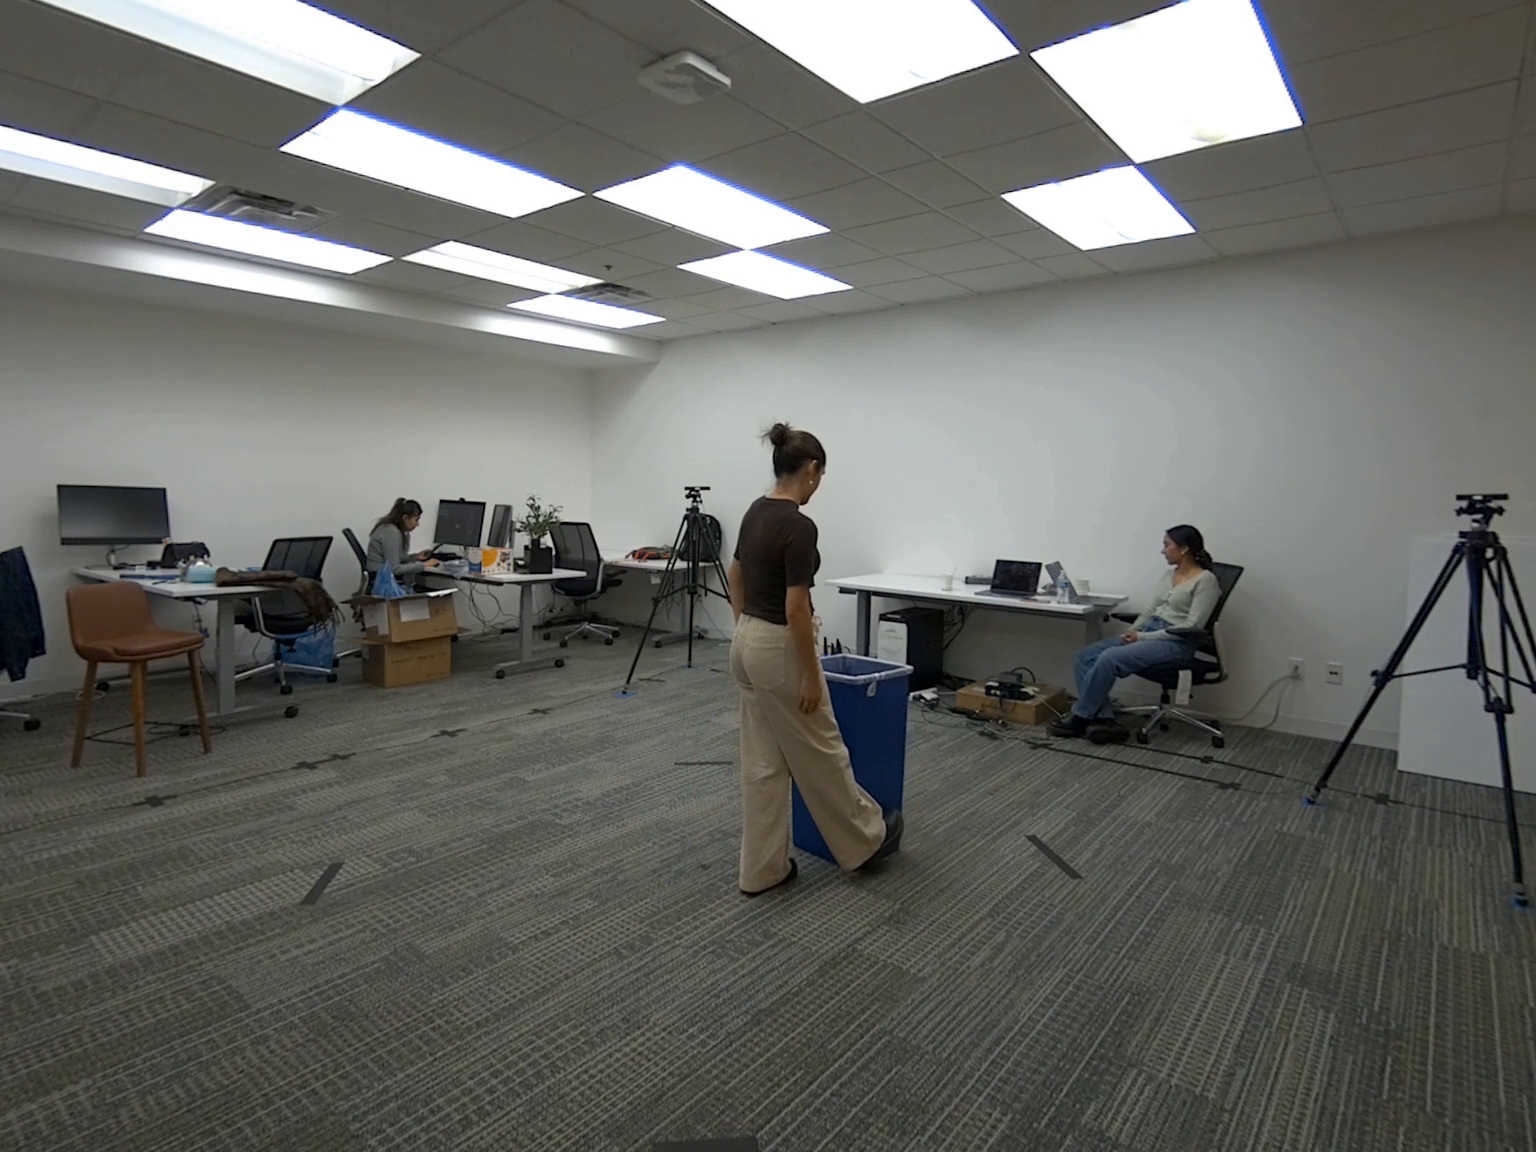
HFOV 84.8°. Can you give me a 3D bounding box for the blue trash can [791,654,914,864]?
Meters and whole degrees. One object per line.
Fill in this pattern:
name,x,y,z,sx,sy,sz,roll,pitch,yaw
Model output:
blue trash can,0.305,0.696,3.309,0.363,0.712,0.391,-2,4,-44
